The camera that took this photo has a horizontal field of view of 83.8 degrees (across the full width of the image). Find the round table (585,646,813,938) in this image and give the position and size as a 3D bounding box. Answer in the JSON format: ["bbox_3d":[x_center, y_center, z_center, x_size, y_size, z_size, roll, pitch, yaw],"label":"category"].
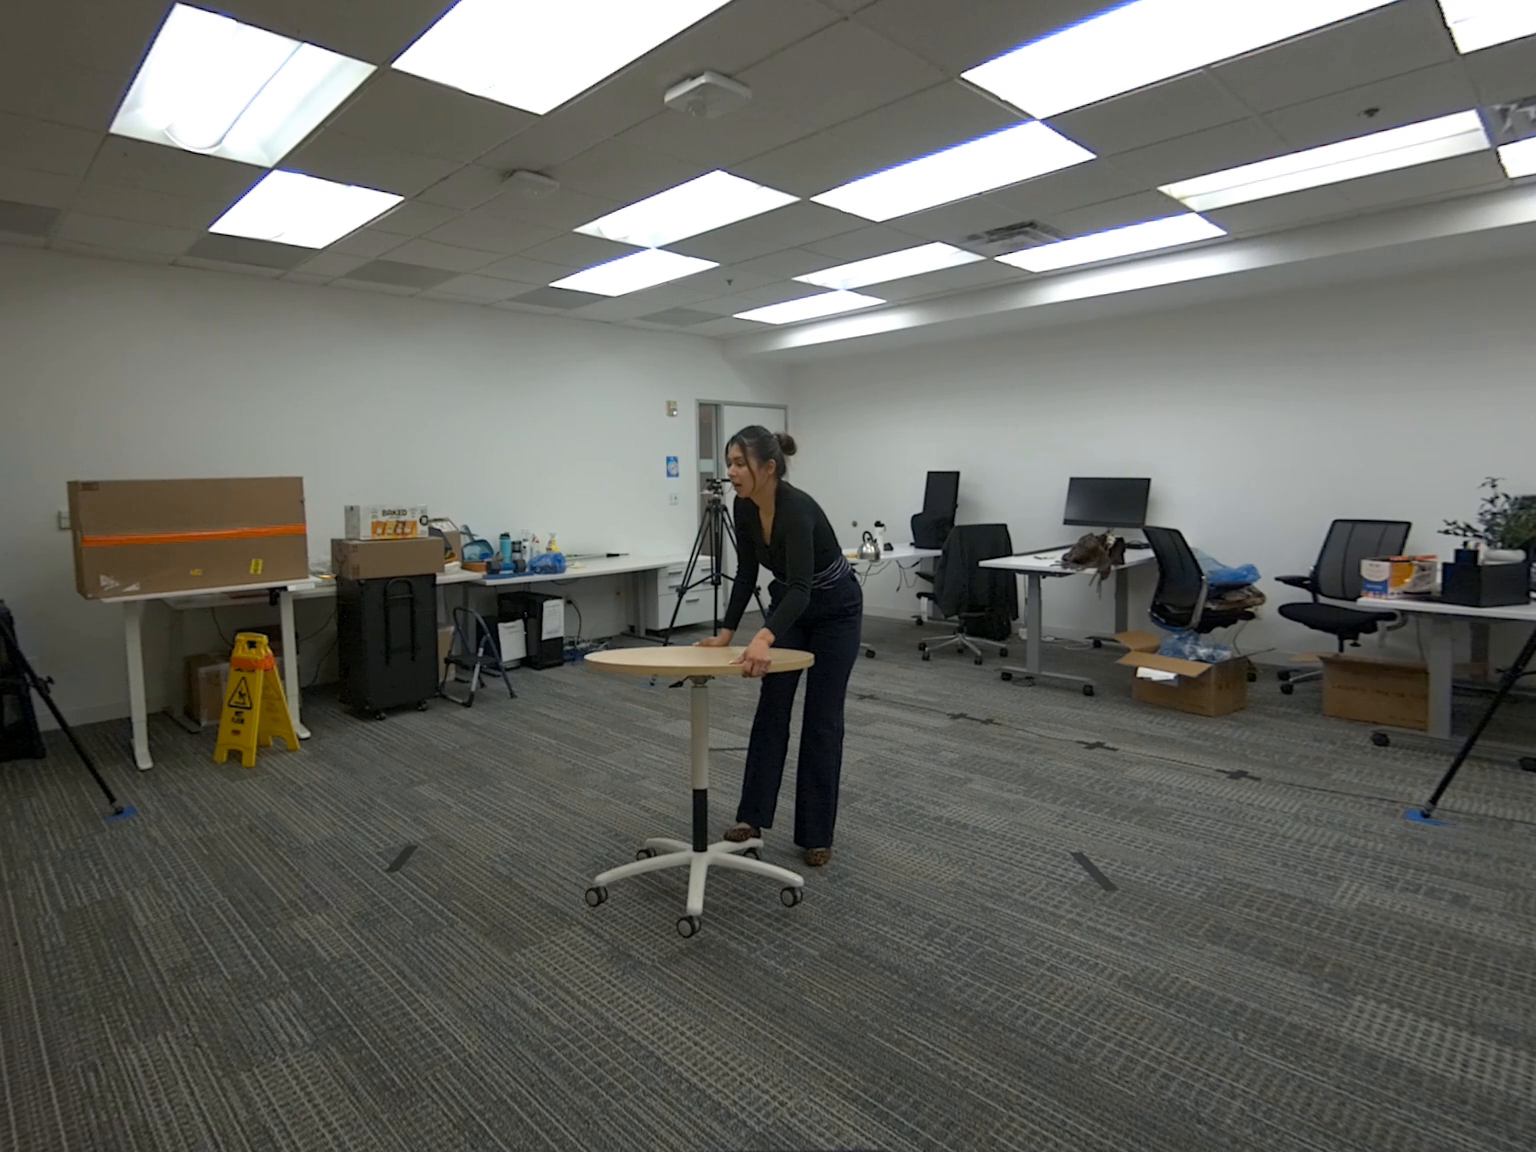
[{"bbox_3d":[-0.226,0.661,2.849,0.763,0.795,0.763,-1,-1,-2],"label":"round table"}]
